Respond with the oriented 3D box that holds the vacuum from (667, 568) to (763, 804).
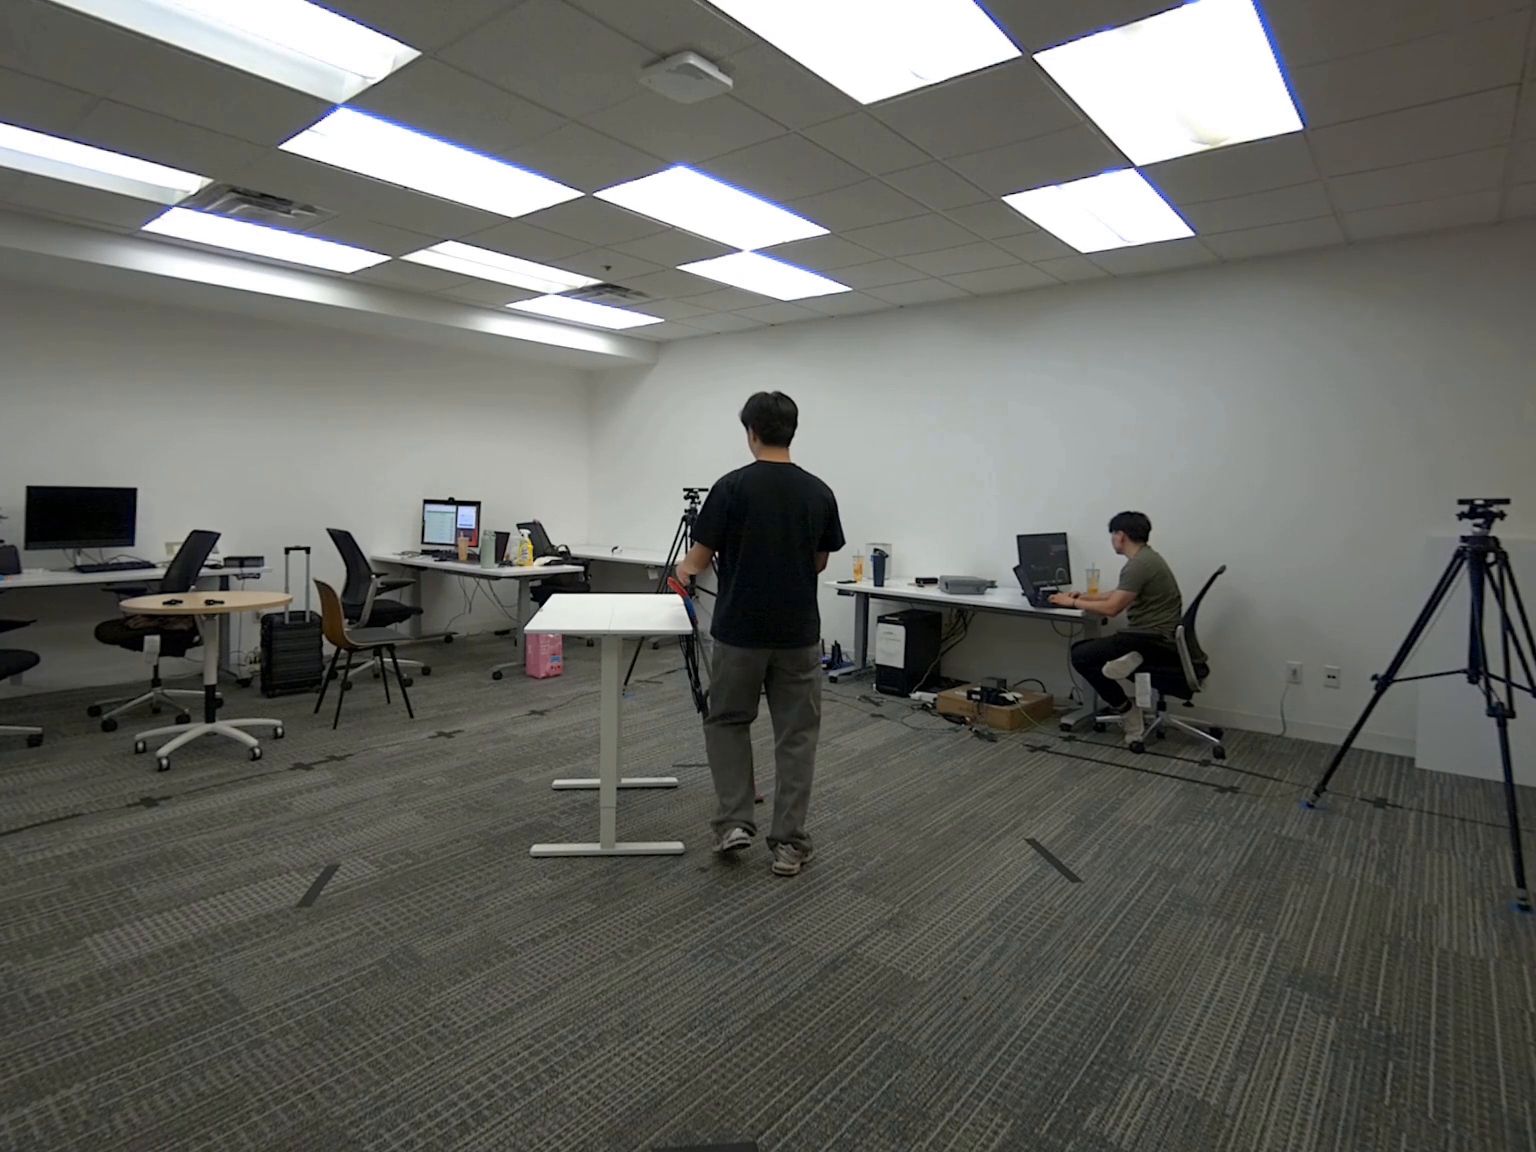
[{"bbox_3d":[-0.291,0.507,3.793,0.142,1.035,0.260,-21,12,-25],"label":"vacuum"}]
